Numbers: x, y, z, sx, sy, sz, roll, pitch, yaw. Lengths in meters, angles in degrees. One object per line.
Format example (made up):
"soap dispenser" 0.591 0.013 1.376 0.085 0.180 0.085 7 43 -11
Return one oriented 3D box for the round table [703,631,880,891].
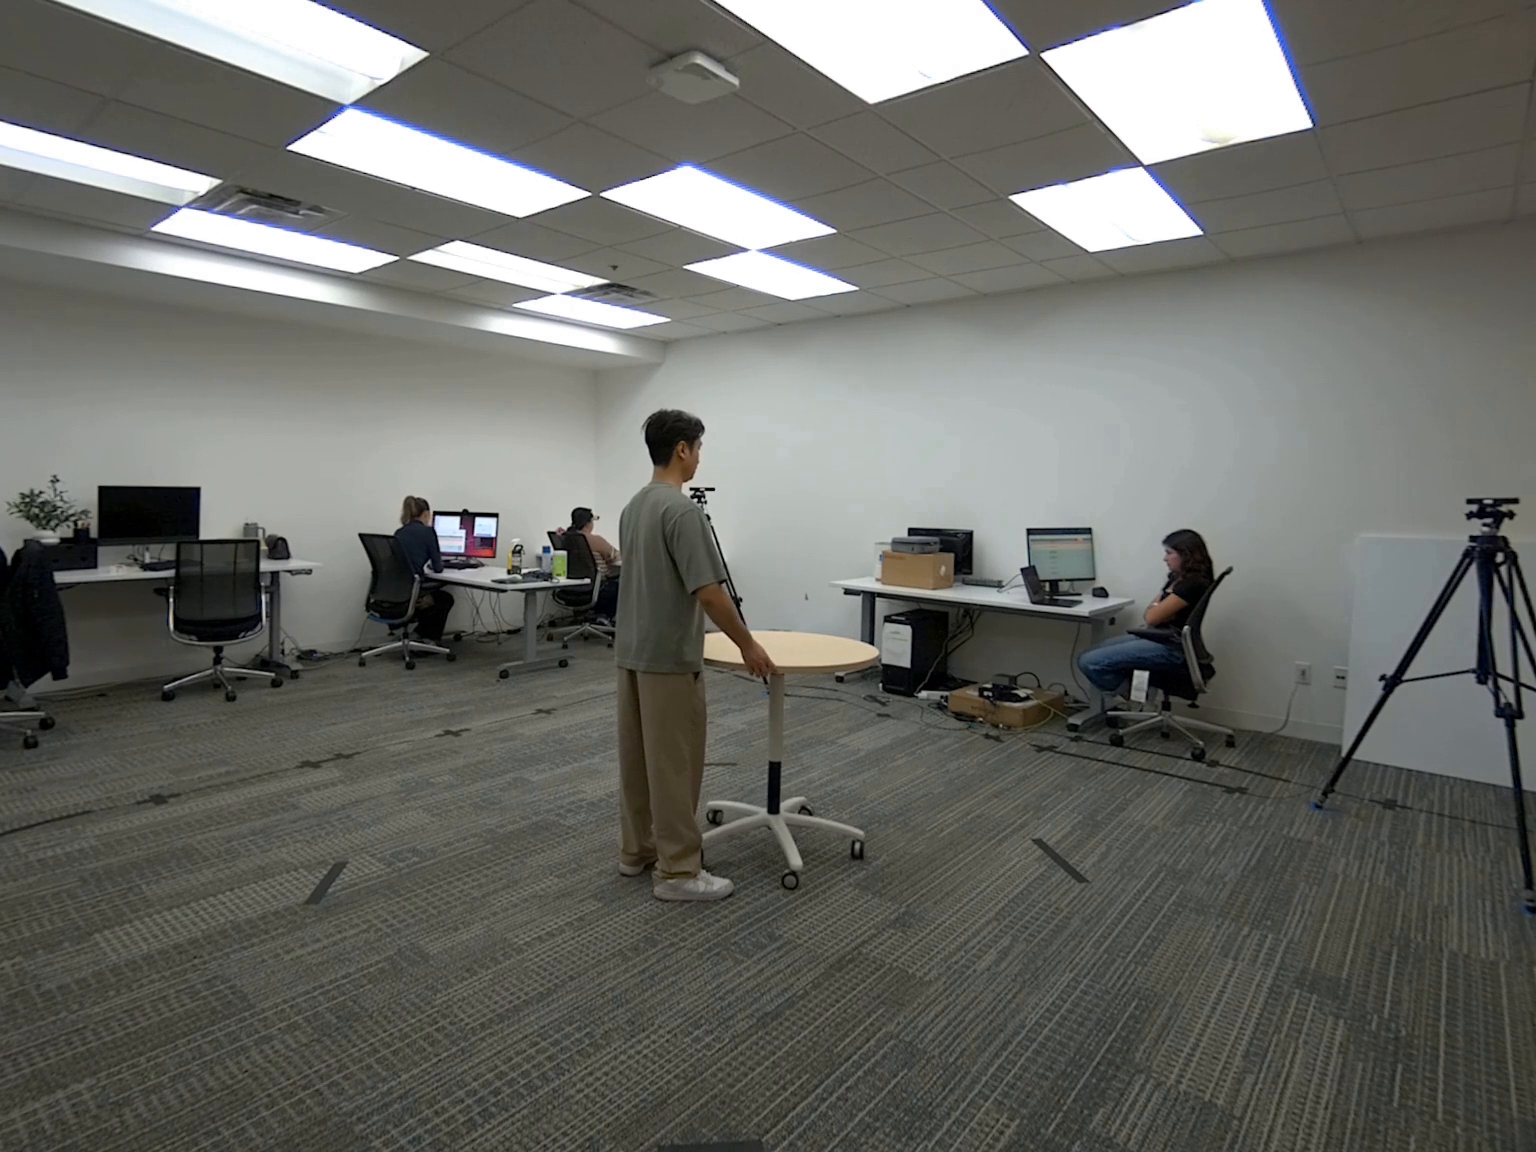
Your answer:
"round table" 0.018 0.659 3.270 0.784 0.785 0.788 1 3 -2
